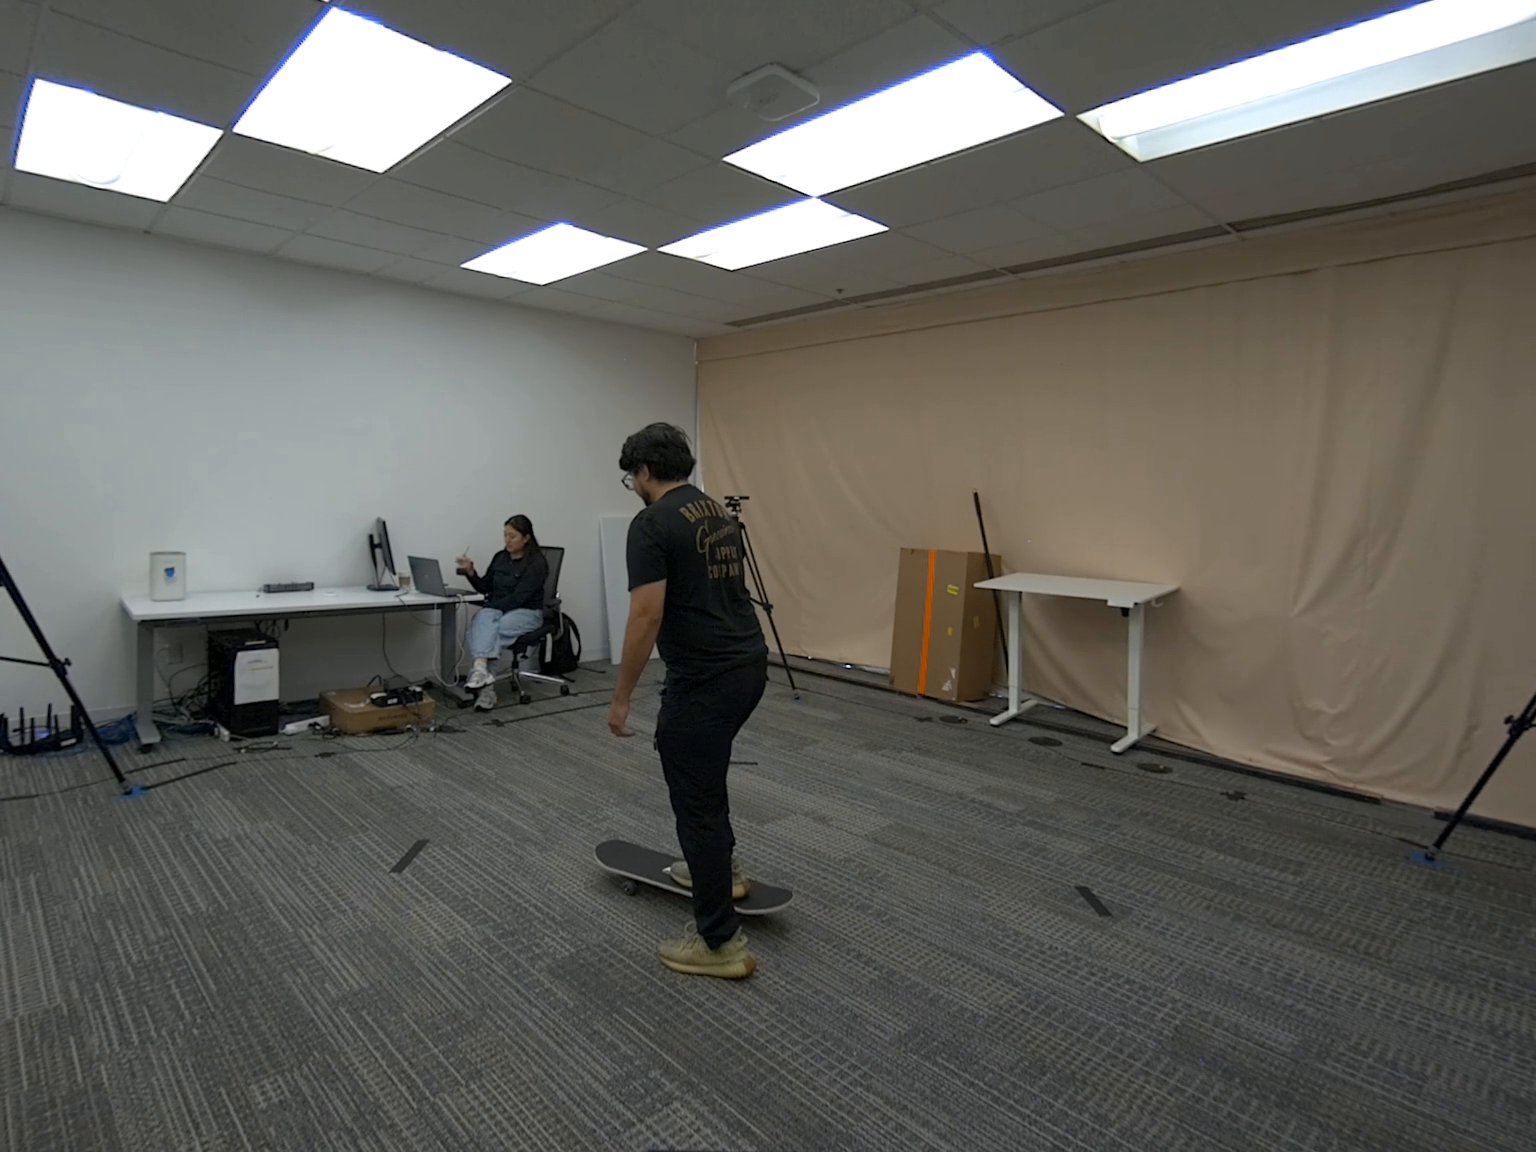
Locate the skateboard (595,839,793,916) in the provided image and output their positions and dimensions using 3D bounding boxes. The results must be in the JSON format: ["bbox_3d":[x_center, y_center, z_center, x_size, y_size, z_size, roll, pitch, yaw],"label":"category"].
[{"bbox_3d":[-0.284,1.069,2.891,0.803,0.110,0.190,4,7,31],"label":"skateboard"}]
